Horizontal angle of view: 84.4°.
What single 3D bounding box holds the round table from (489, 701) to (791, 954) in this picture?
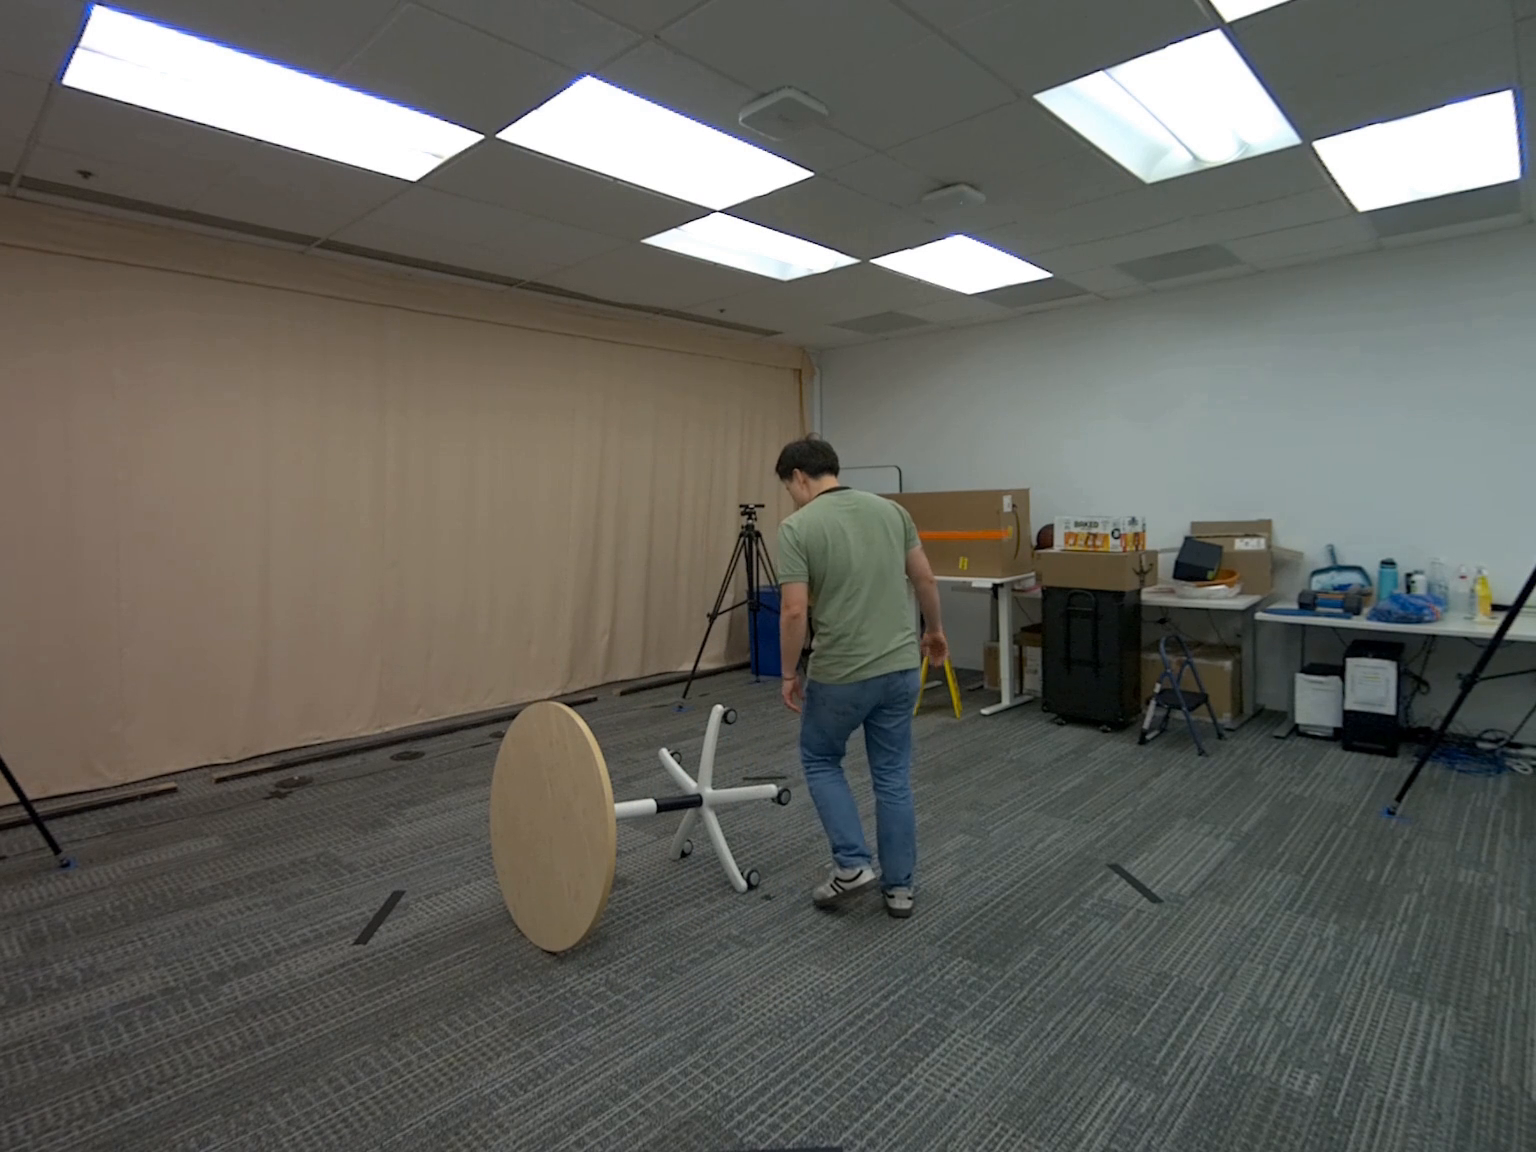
[{"bbox_3d":[-0.435,0.820,2.972,0.767,0.764,0.789,6,-2,-42],"label":"round table"}]
